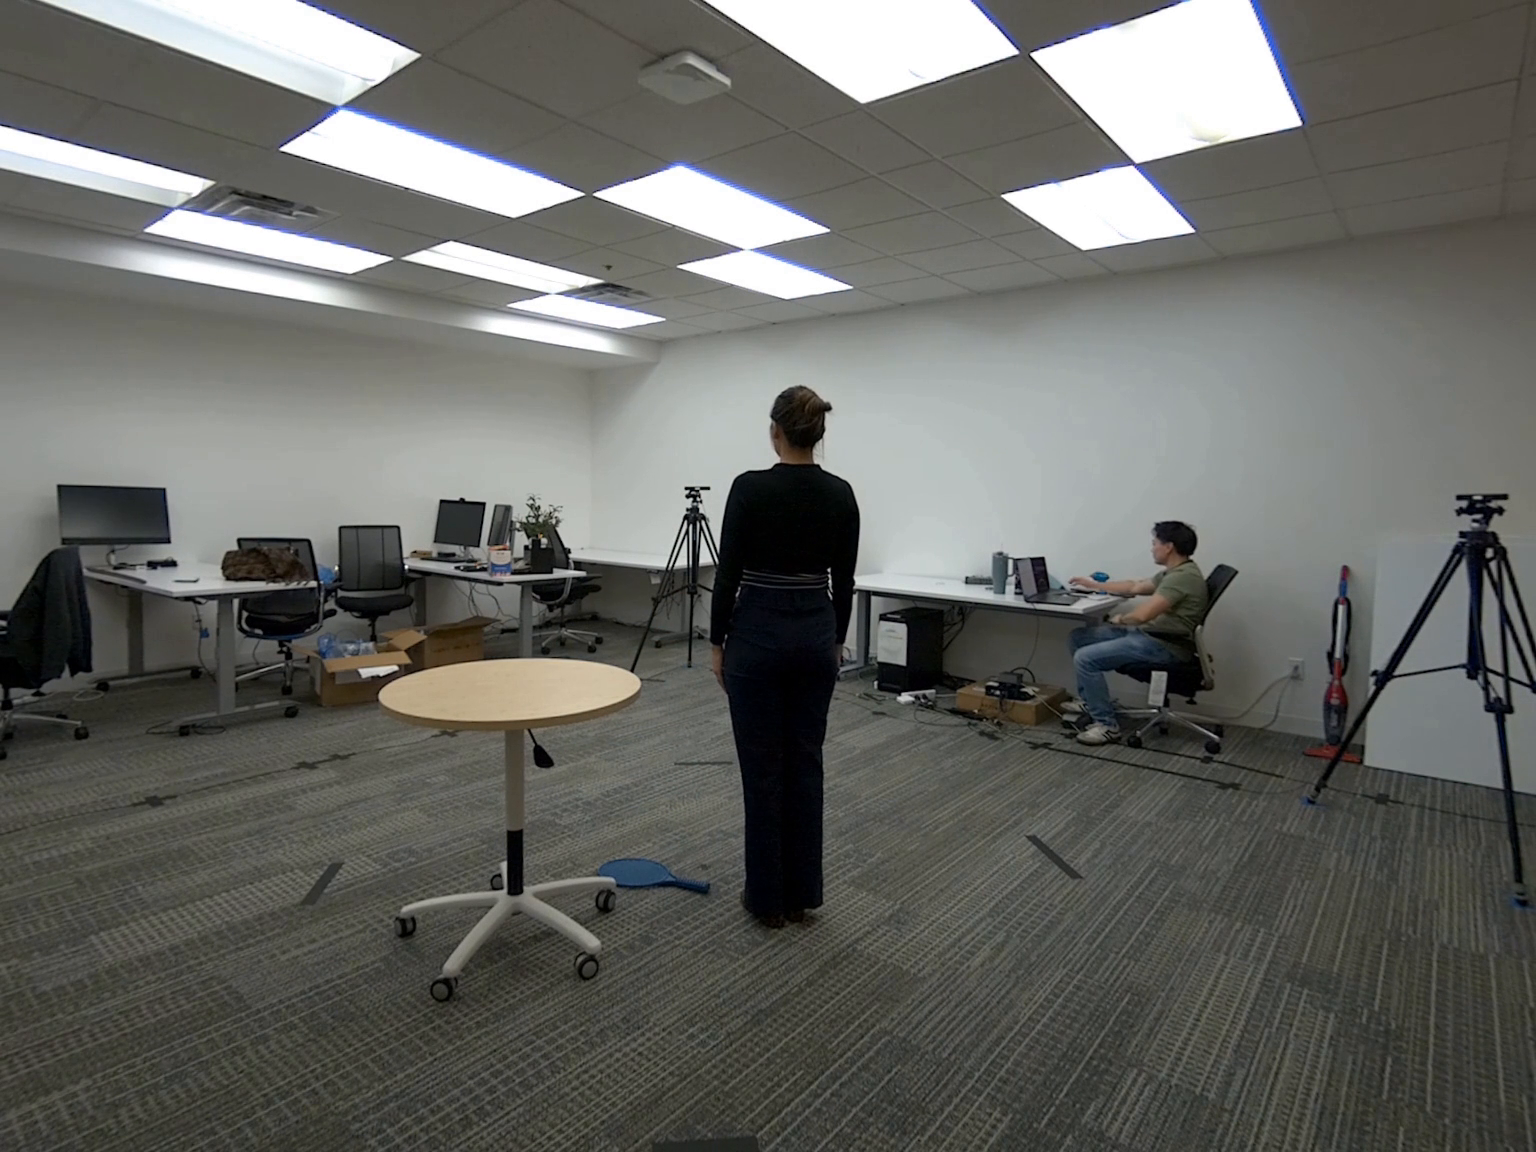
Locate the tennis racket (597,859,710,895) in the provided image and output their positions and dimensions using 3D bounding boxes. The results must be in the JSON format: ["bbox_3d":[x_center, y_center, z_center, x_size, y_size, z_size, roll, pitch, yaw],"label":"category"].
[{"bbox_3d":[-0.414,1.056,3.007,0.443,0.031,0.209,1,6,24],"label":"tennis racket"}]
